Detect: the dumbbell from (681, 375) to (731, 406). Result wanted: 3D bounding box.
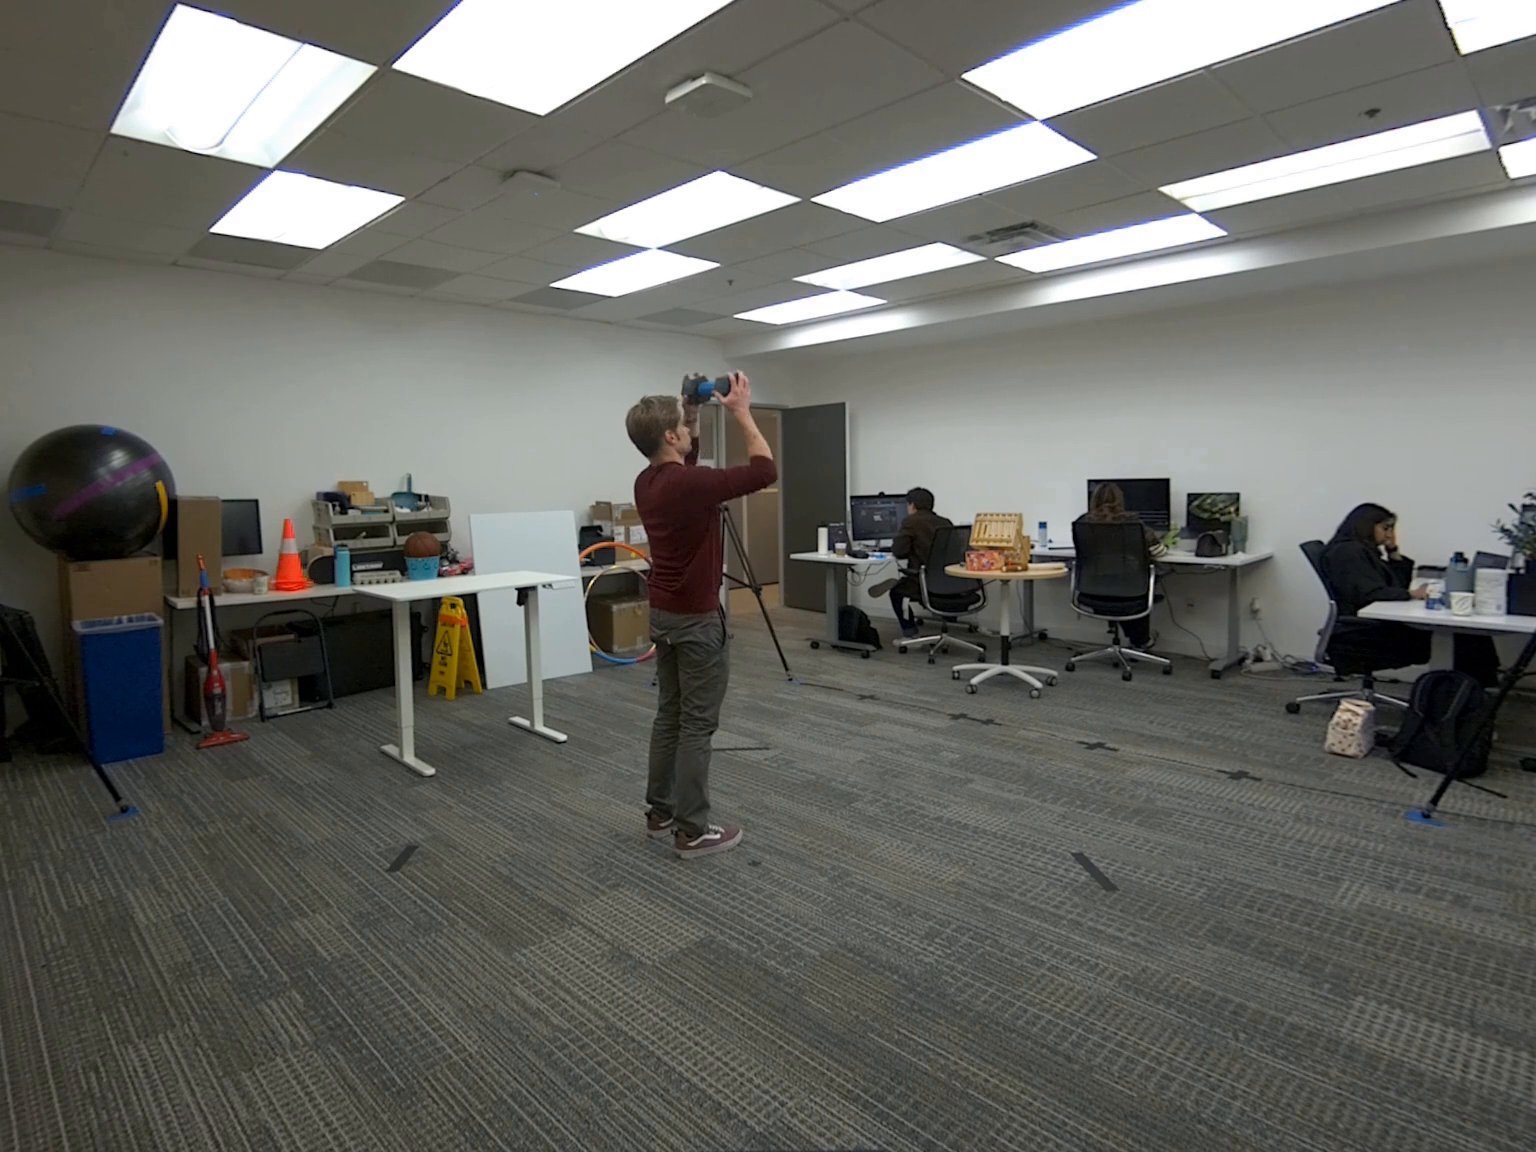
[{"bbox_3d":[-0.218,-0.722,3.302,0.105,0.123,0.303,11,2,-40],"label":"dumbbell"}]
